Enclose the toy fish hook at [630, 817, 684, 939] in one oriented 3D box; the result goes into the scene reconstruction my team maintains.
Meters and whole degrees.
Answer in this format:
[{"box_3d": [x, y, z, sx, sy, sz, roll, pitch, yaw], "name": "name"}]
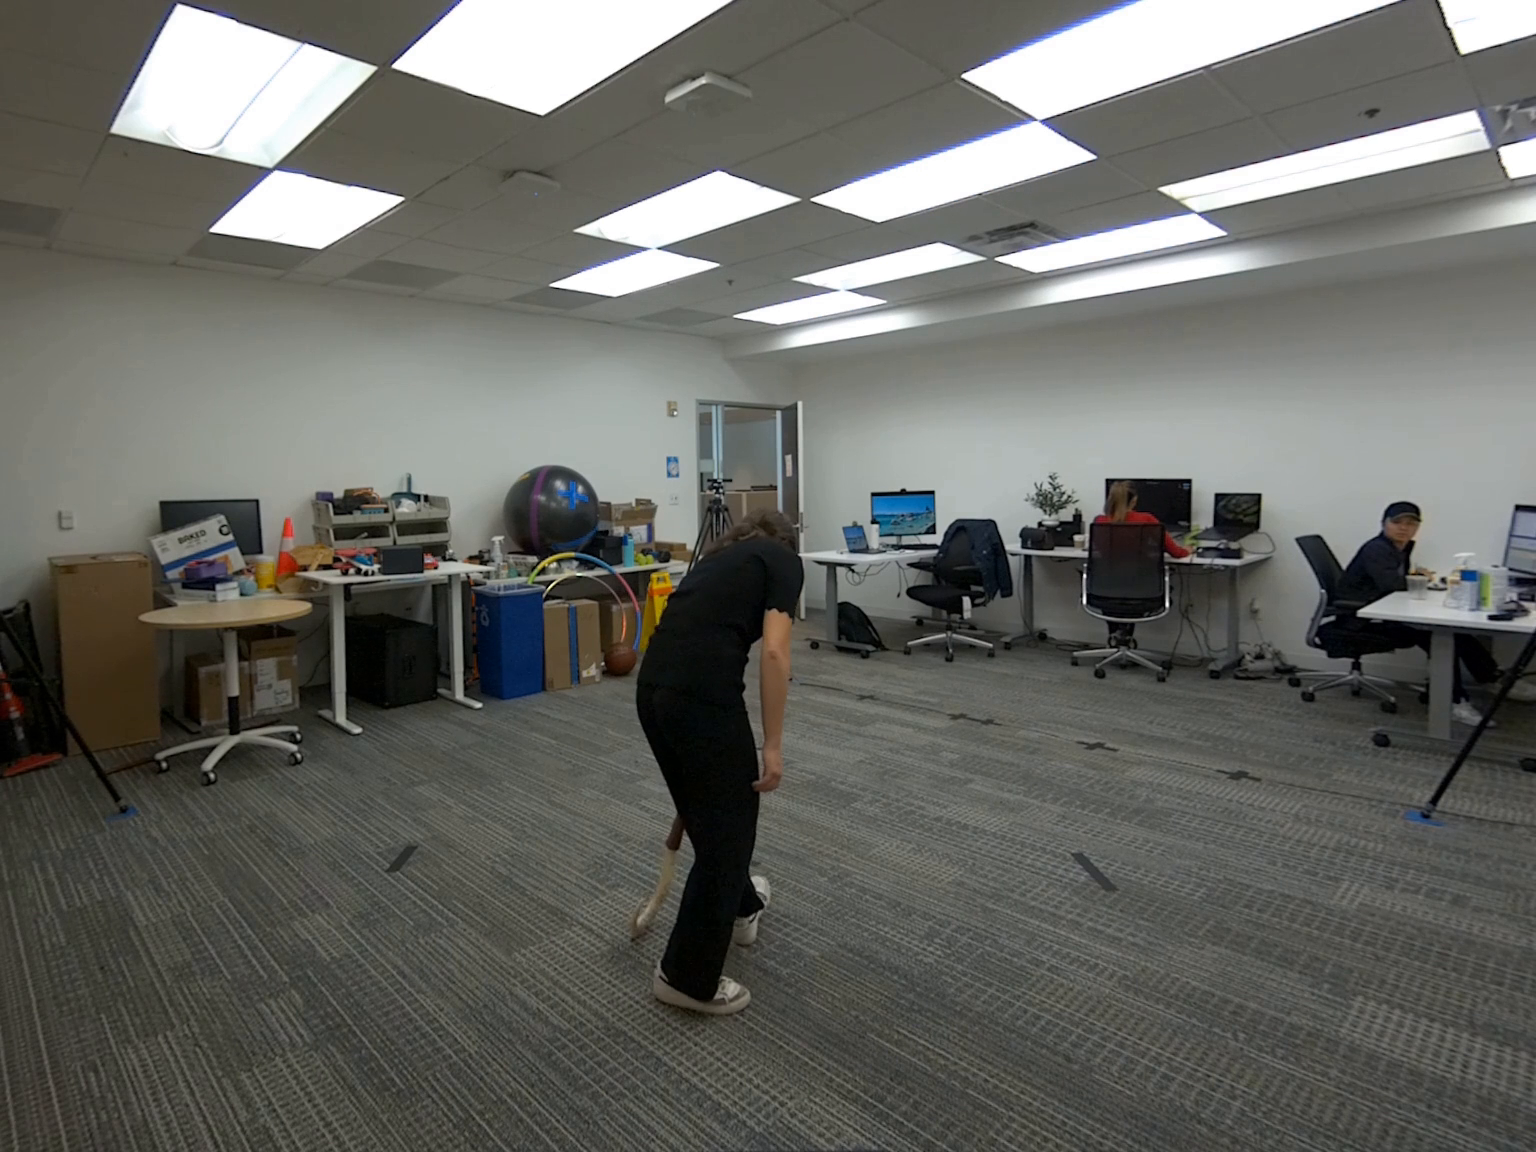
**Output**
[{"box_3d": [-0.313, 0.883, 2.566, 0.049, 0.501, 0.224, 19, 20, 7], "name": "toy fish hook"}]
